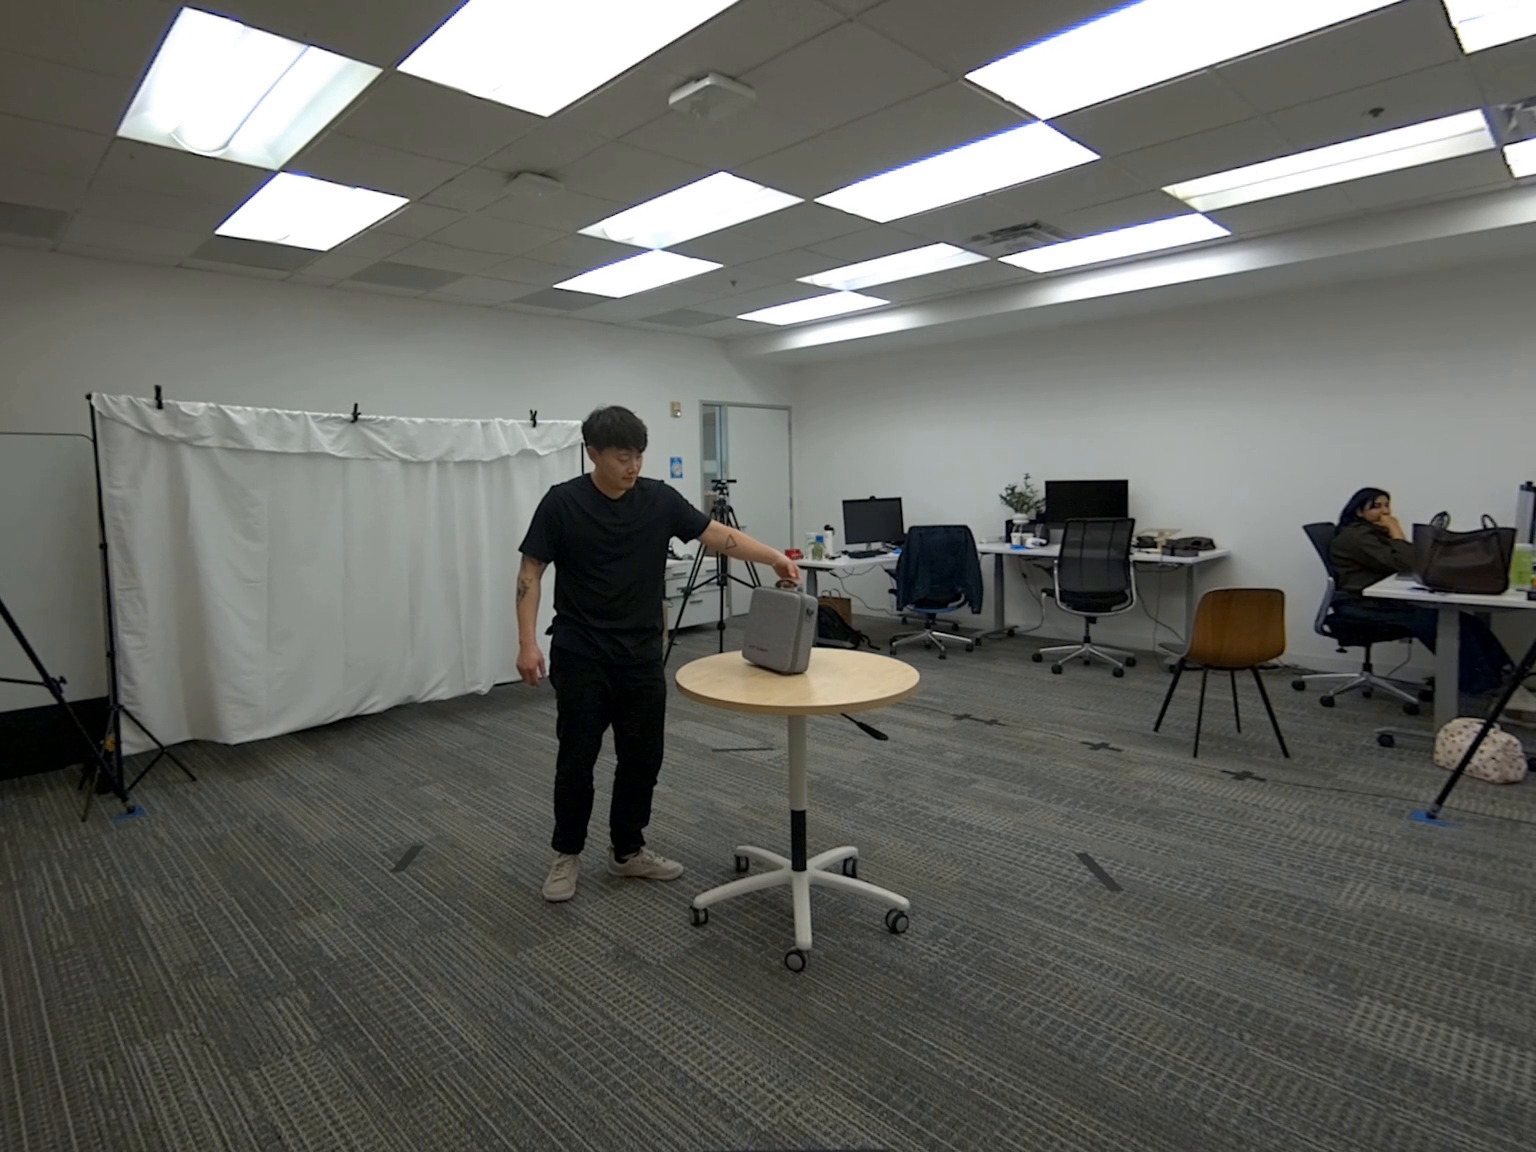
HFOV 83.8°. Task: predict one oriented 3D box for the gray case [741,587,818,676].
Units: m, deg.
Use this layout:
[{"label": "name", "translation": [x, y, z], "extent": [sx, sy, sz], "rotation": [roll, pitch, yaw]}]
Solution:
[{"label": "gray case", "translation": [0.034, 0.167, 2.775], "extent": [0.101, 0.261, 0.265], "rotation": [11, -1, -35]}]
